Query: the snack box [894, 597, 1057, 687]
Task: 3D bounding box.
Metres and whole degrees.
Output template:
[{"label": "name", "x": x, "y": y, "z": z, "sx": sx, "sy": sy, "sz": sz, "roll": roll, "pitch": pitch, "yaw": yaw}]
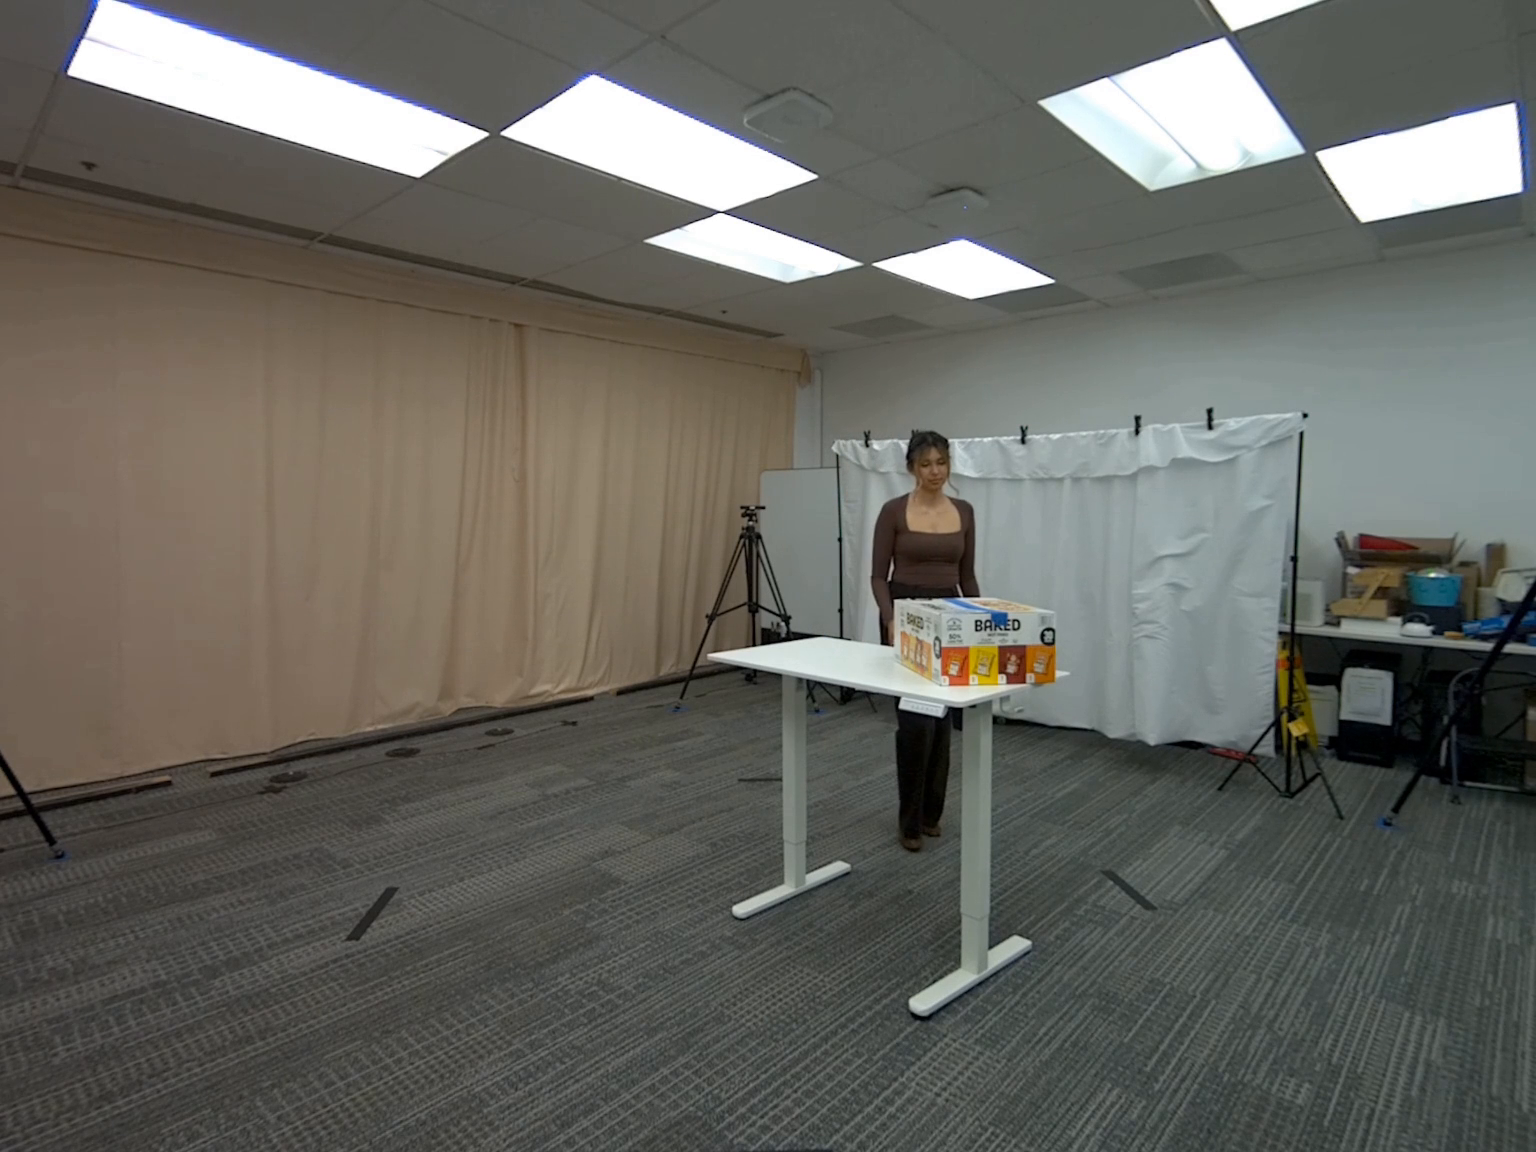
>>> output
[{"label": "snack box", "x": 0.618, "y": 0.194, "z": 2.552, "sx": 0.338, "sy": 0.205, "sz": 0.409, "roll": 0, "pitch": 4, "yaw": -7}]
